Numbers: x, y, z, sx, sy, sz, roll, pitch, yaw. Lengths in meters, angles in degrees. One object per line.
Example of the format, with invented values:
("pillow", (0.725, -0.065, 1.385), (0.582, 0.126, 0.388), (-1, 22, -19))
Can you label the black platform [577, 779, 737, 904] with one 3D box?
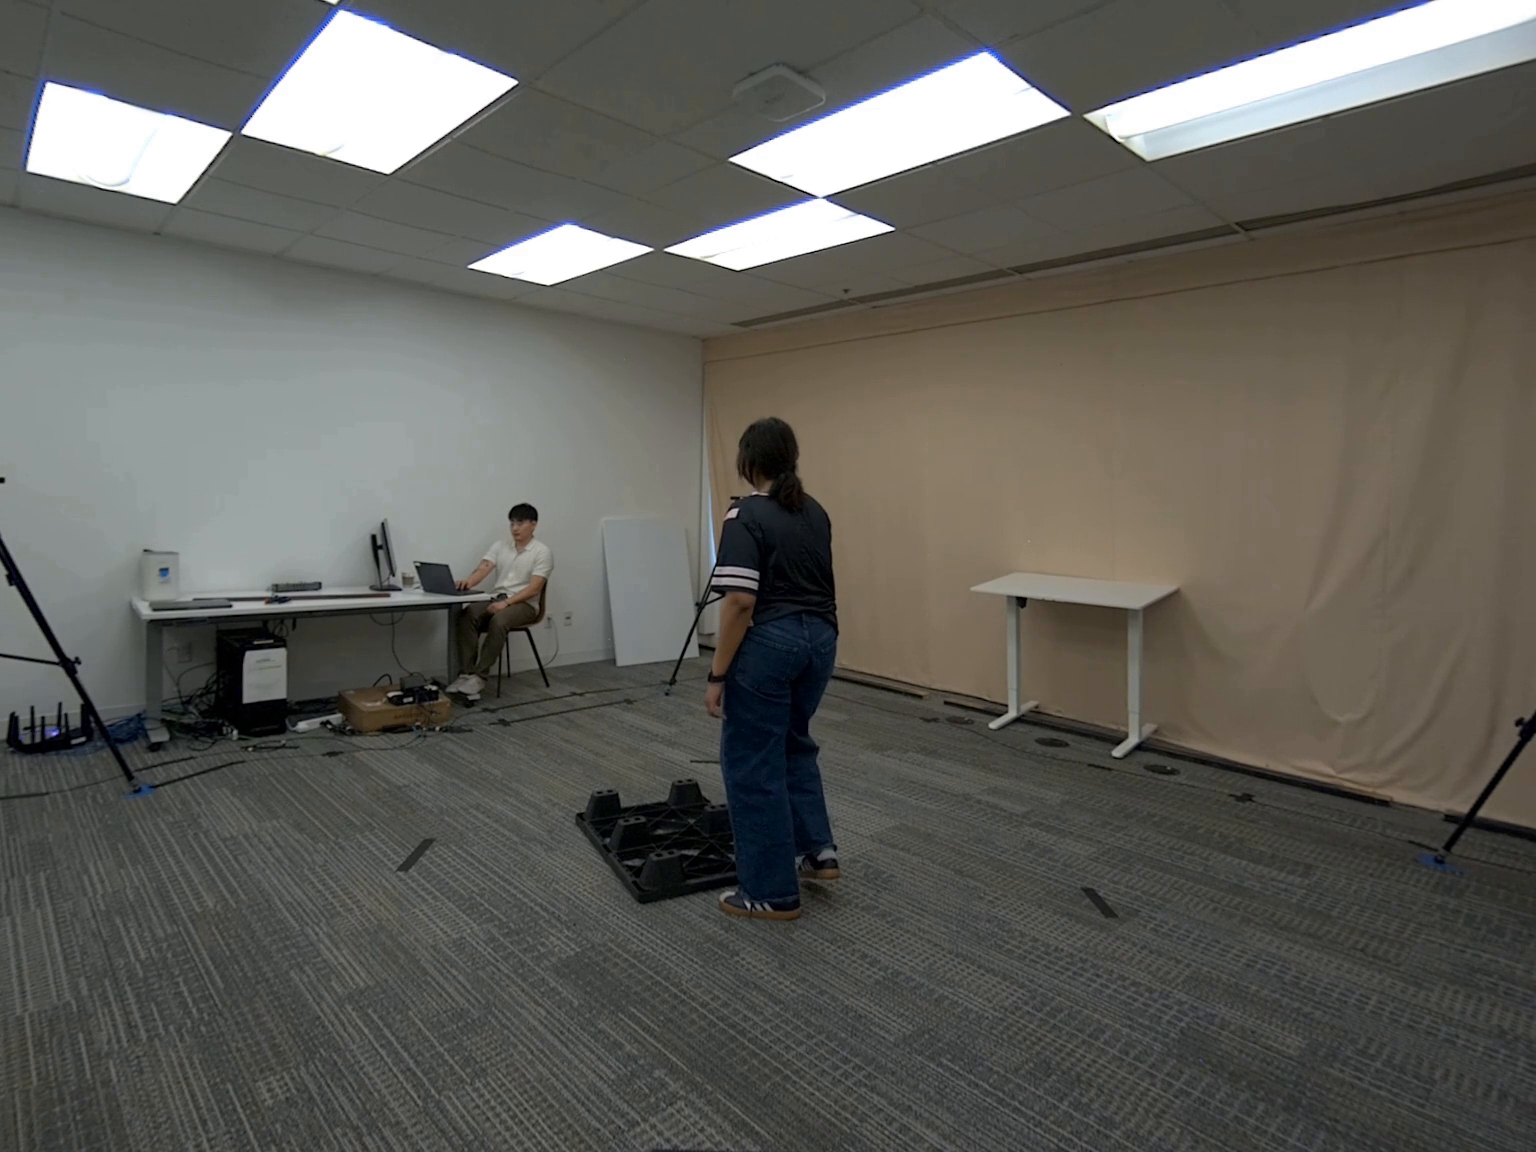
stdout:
("black platform", (-0.367, 1.013, 3.346), (0.593, 0.143, 0.824), (-2, 6, -28))
